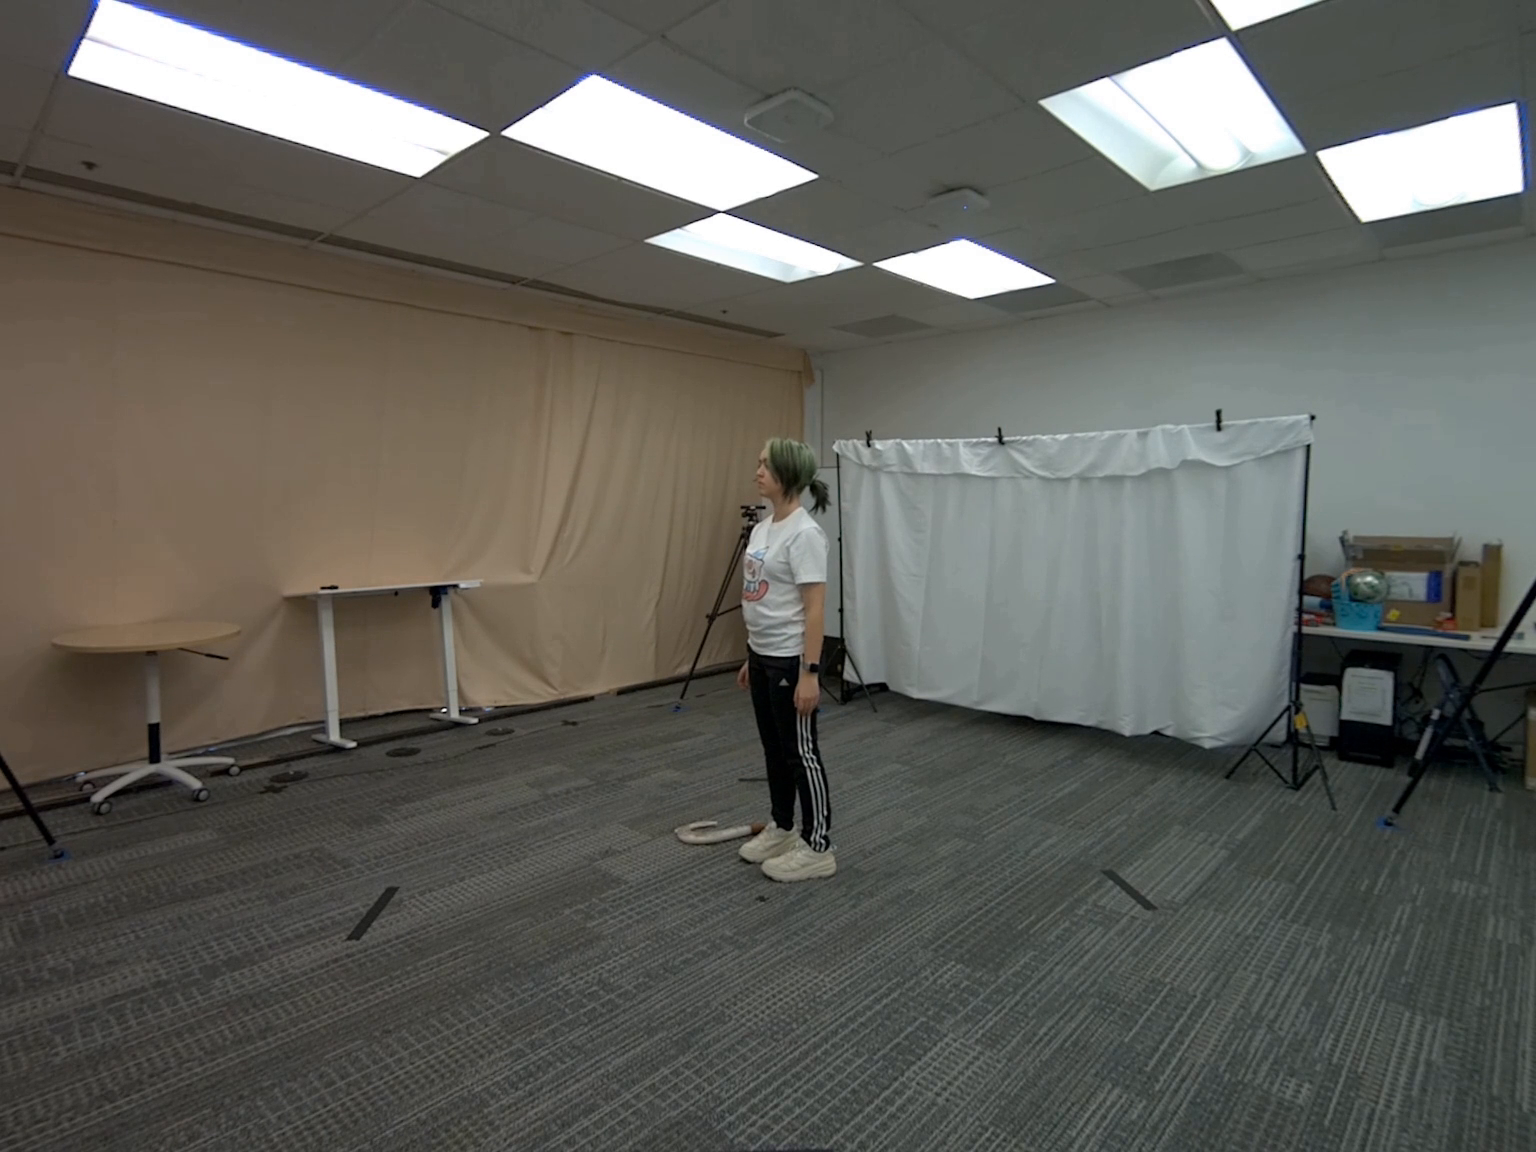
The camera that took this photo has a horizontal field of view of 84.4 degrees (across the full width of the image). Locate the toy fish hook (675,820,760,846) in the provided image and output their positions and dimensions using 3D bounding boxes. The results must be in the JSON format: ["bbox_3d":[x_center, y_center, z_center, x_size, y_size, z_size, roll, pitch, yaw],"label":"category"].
[{"bbox_3d":[-0.141,1.071,3.592,0.499,0.048,0.229,-2,6,-15],"label":"toy fish hook"}]
